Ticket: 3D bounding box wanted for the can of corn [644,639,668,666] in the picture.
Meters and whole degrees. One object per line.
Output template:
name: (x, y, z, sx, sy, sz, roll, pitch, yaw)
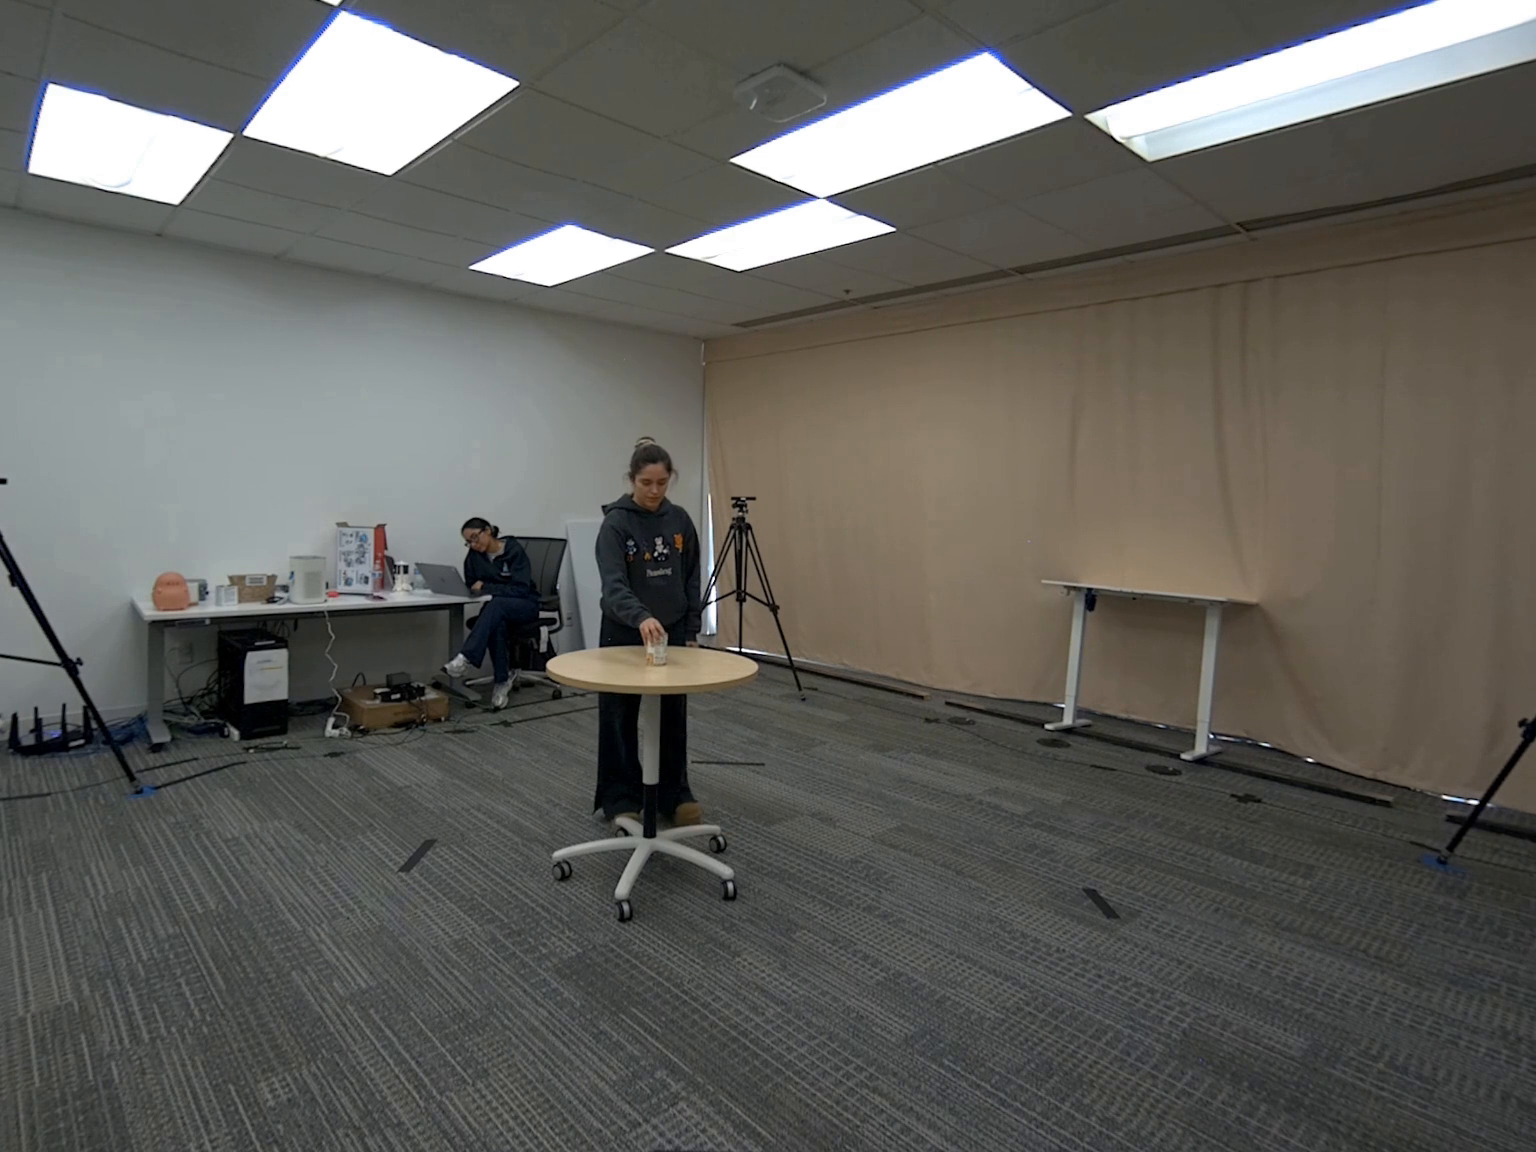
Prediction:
can of corn: (-0.426, 0.265, 3.058, 0.074, 0.111, 0.074, -2, 2, -1)
